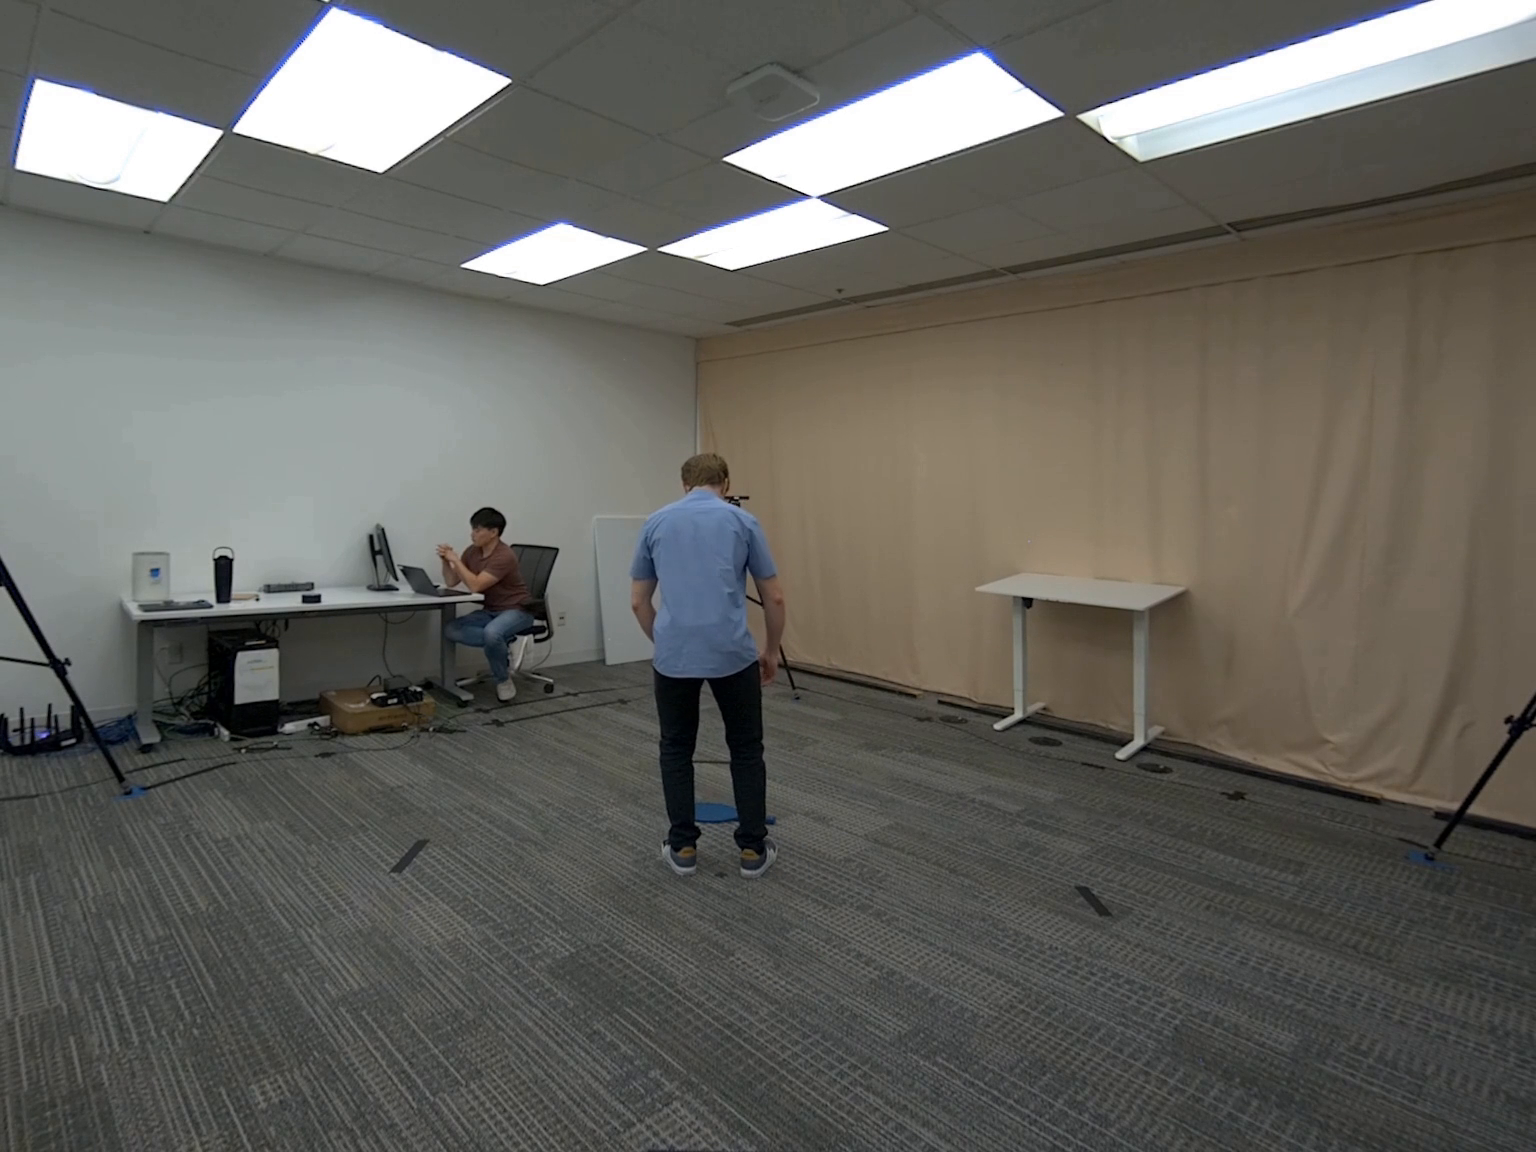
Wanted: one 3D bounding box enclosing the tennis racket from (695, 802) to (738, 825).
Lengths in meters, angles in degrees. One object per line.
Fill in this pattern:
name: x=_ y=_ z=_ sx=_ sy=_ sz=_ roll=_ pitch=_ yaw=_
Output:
tennis racket: x=-0.188 y=1.042 z=3.677 sx=0.440 sy=0.032 sz=0.211 roll=1 pitch=5 yaw=20
